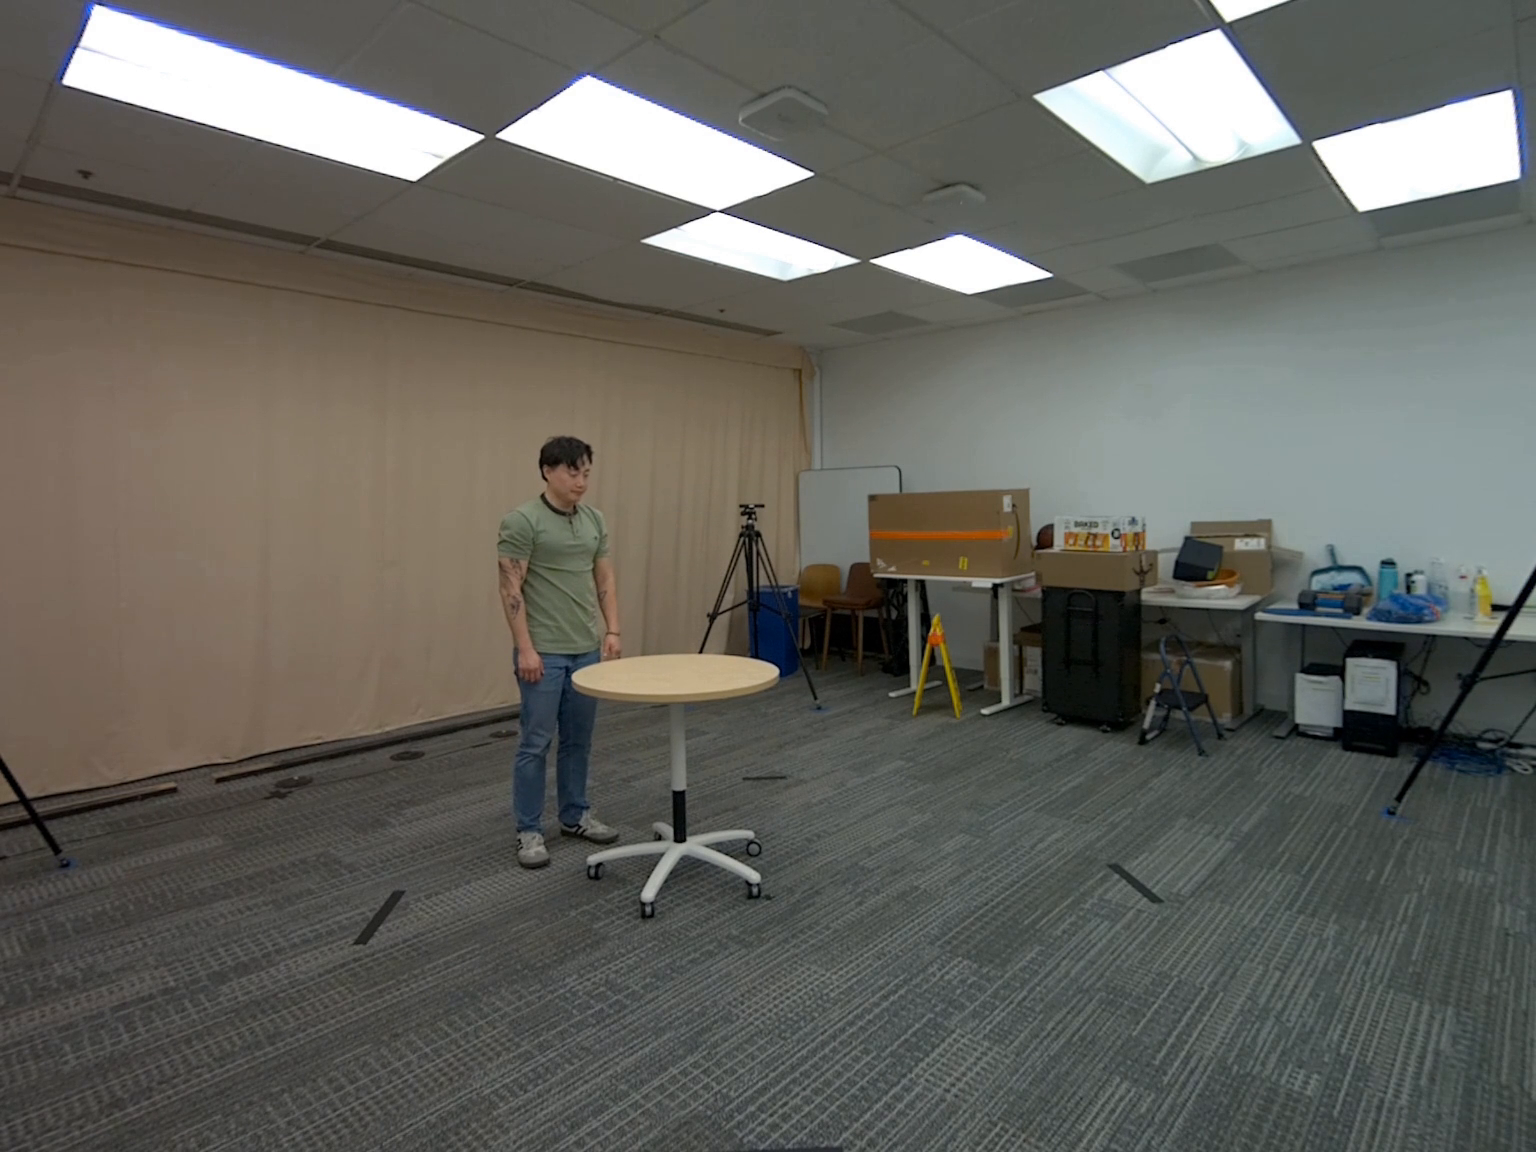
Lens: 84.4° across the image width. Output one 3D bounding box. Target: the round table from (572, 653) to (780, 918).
[{"bbox_3d":[-0.330,0.743,3.141,0.763,0.792,0.766,-1,3,-2],"label":"round table"}]
